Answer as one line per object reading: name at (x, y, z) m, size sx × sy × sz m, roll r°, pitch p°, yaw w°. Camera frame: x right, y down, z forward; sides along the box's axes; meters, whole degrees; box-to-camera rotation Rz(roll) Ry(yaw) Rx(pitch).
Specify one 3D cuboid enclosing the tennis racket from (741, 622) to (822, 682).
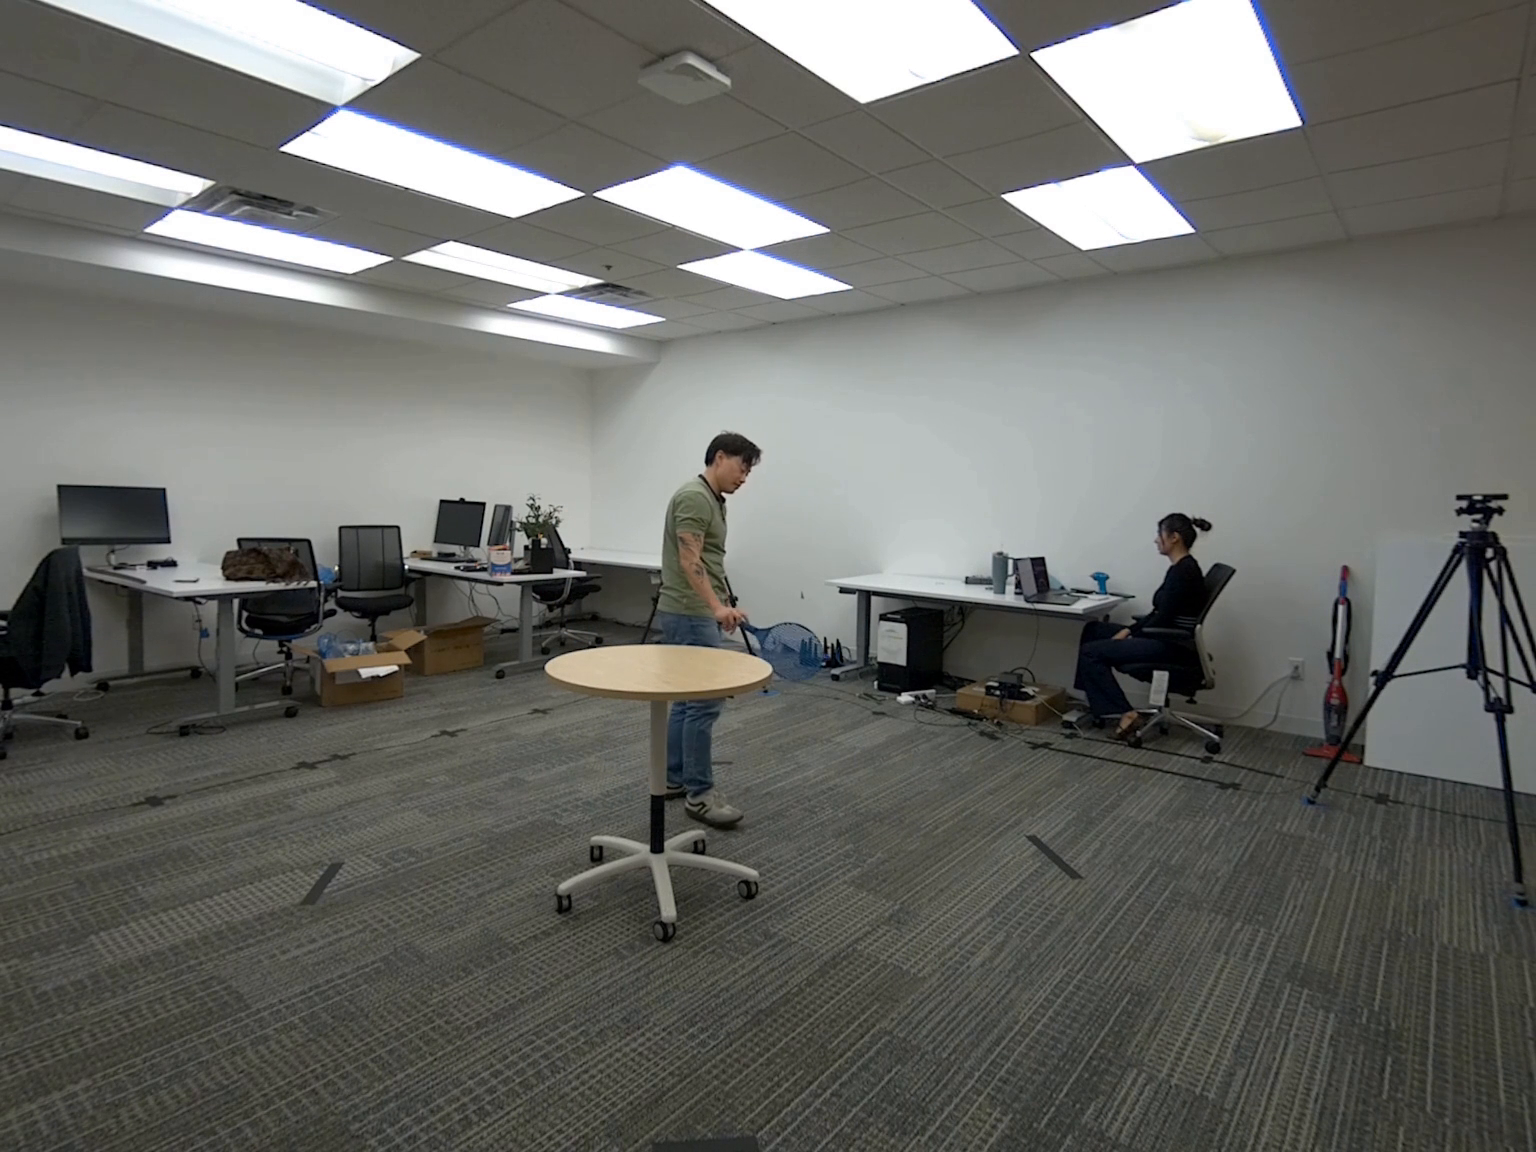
tennis racket at (-0.001, 0.274, 3.330) m, size 0.448 × 0.214 × 0.030 m, roll 23°, pitch -2°, yaw 29°
